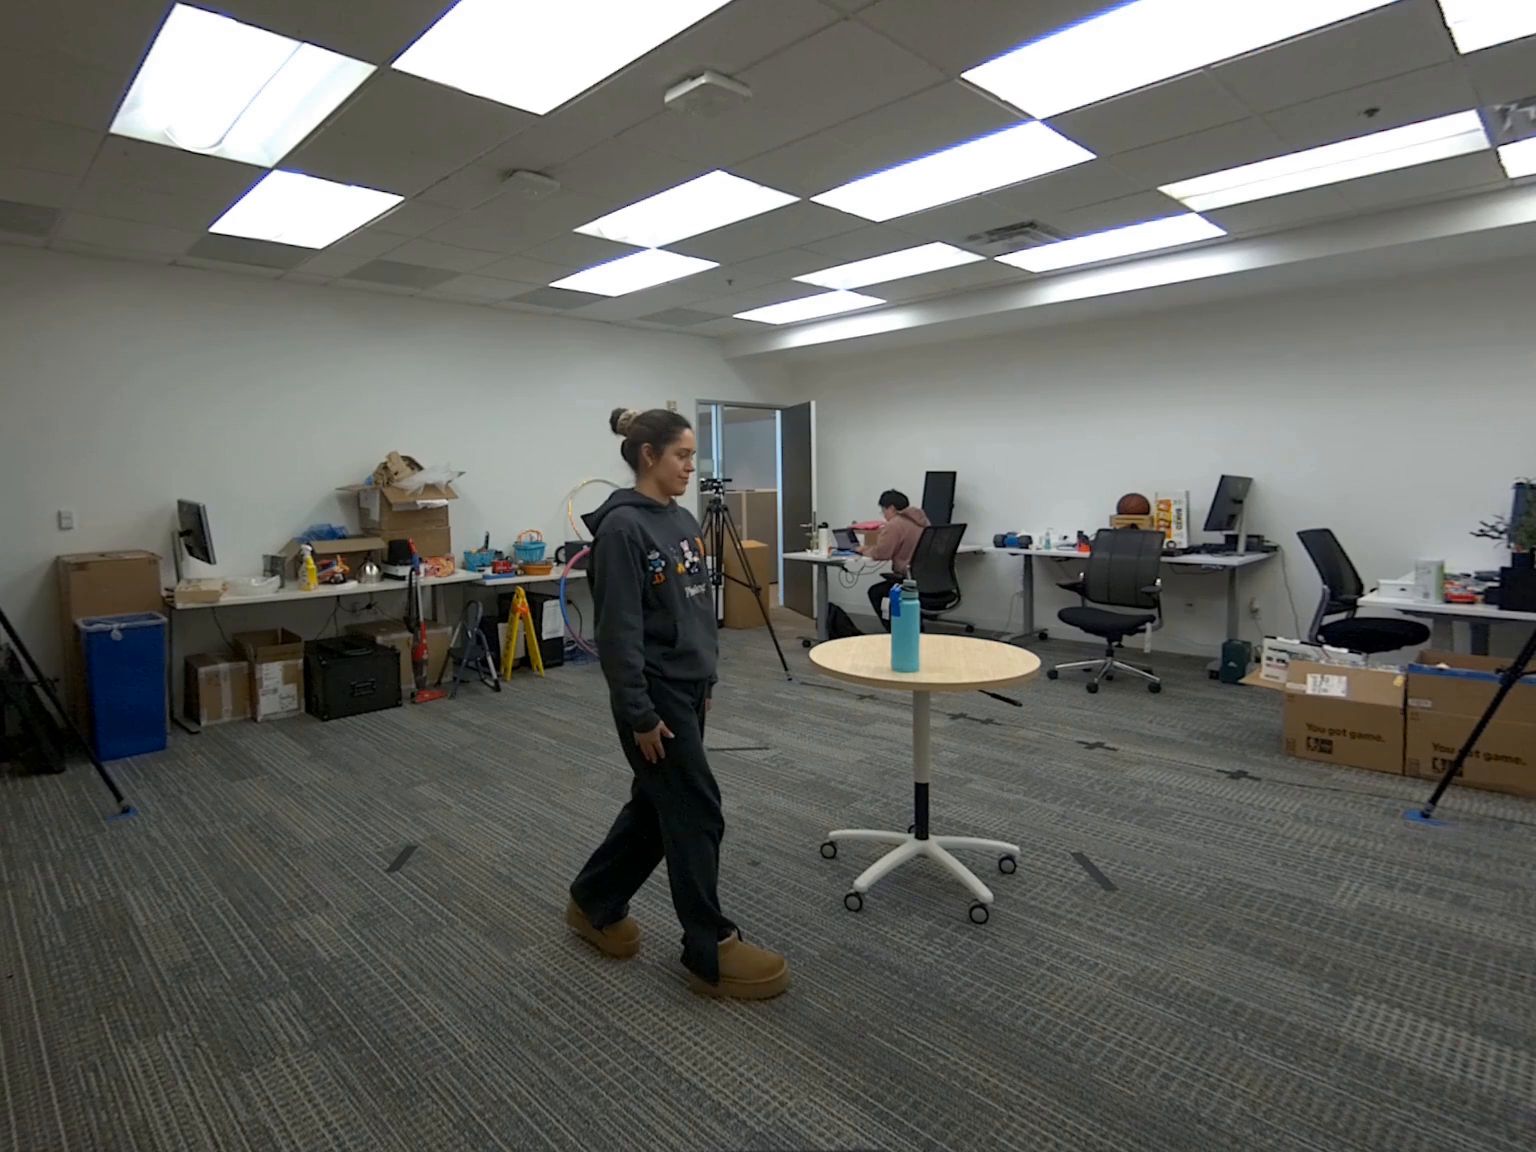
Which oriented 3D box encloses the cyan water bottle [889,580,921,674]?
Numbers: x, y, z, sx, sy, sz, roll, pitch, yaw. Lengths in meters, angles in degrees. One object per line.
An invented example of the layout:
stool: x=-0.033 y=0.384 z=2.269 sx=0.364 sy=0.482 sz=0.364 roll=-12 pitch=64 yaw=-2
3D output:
cyan water bottle: x=0.436 y=0.160 z=2.700 sx=0.092 sy=0.282 sz=0.093 roll=-2 pitch=6 yaw=-1
